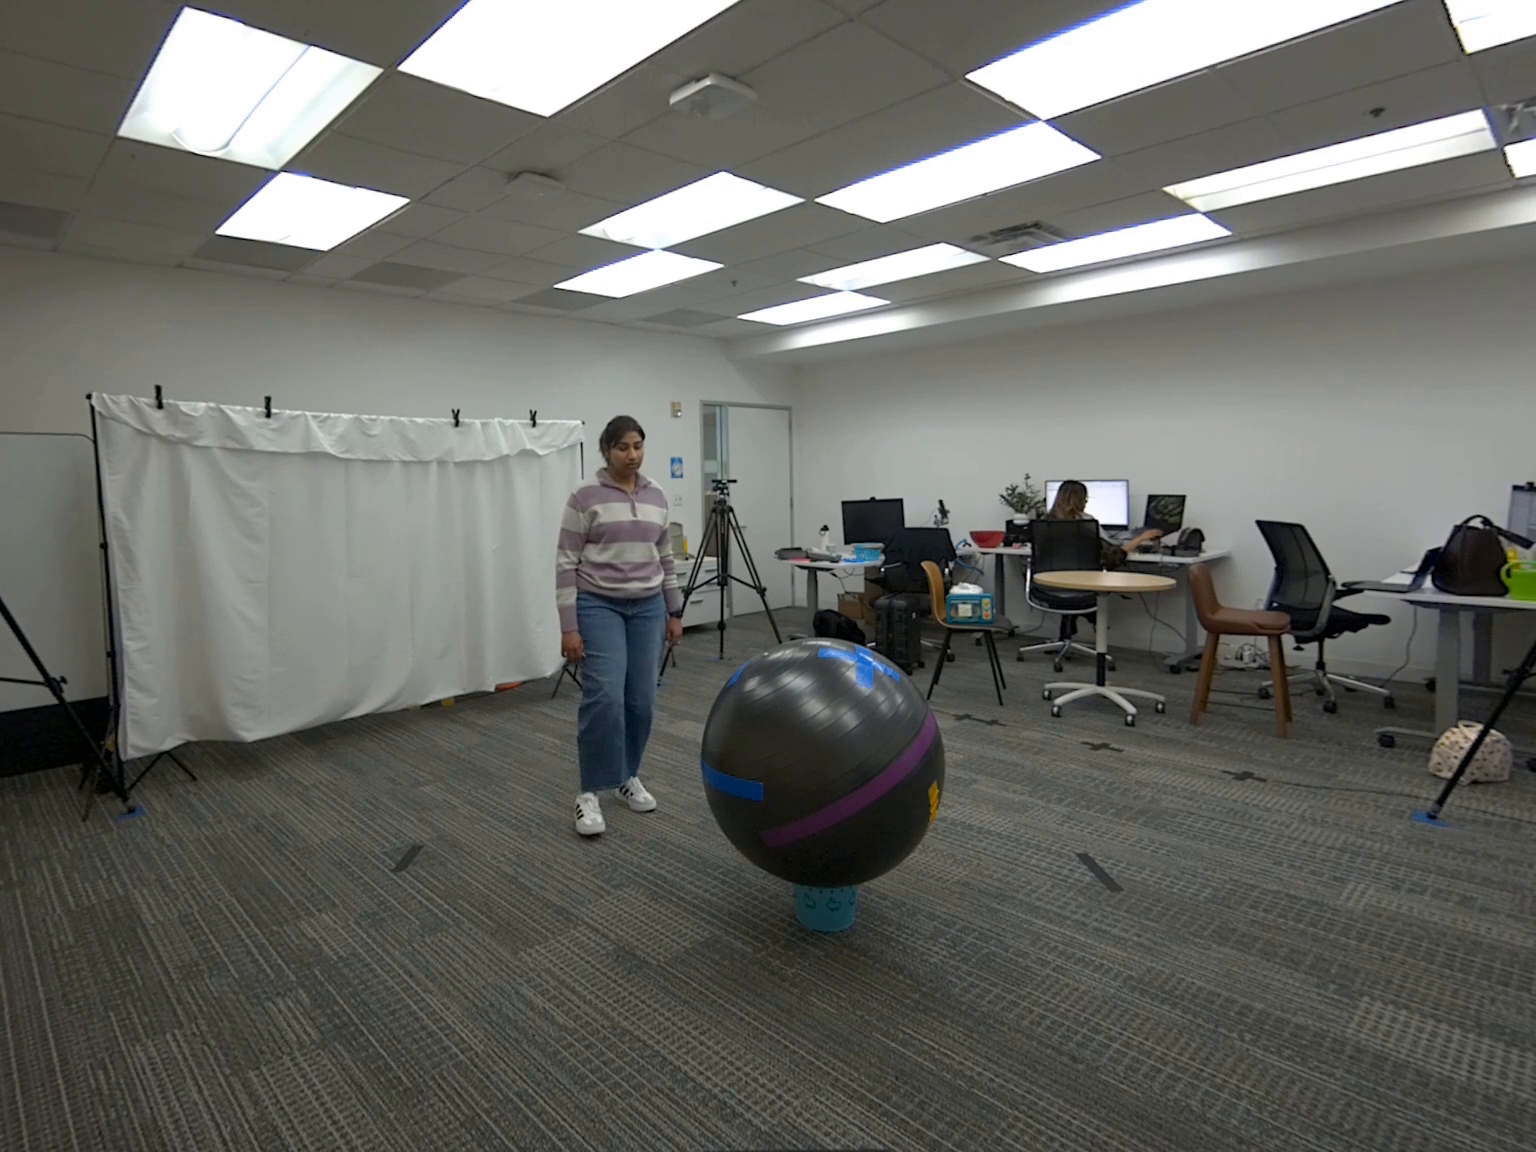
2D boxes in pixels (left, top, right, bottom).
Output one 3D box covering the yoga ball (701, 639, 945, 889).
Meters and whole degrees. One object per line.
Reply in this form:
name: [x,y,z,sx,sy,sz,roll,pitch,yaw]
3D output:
yoga ball: [0.169,0.583,2.685,0.757,0.755,0.762,-1,5,-2]
